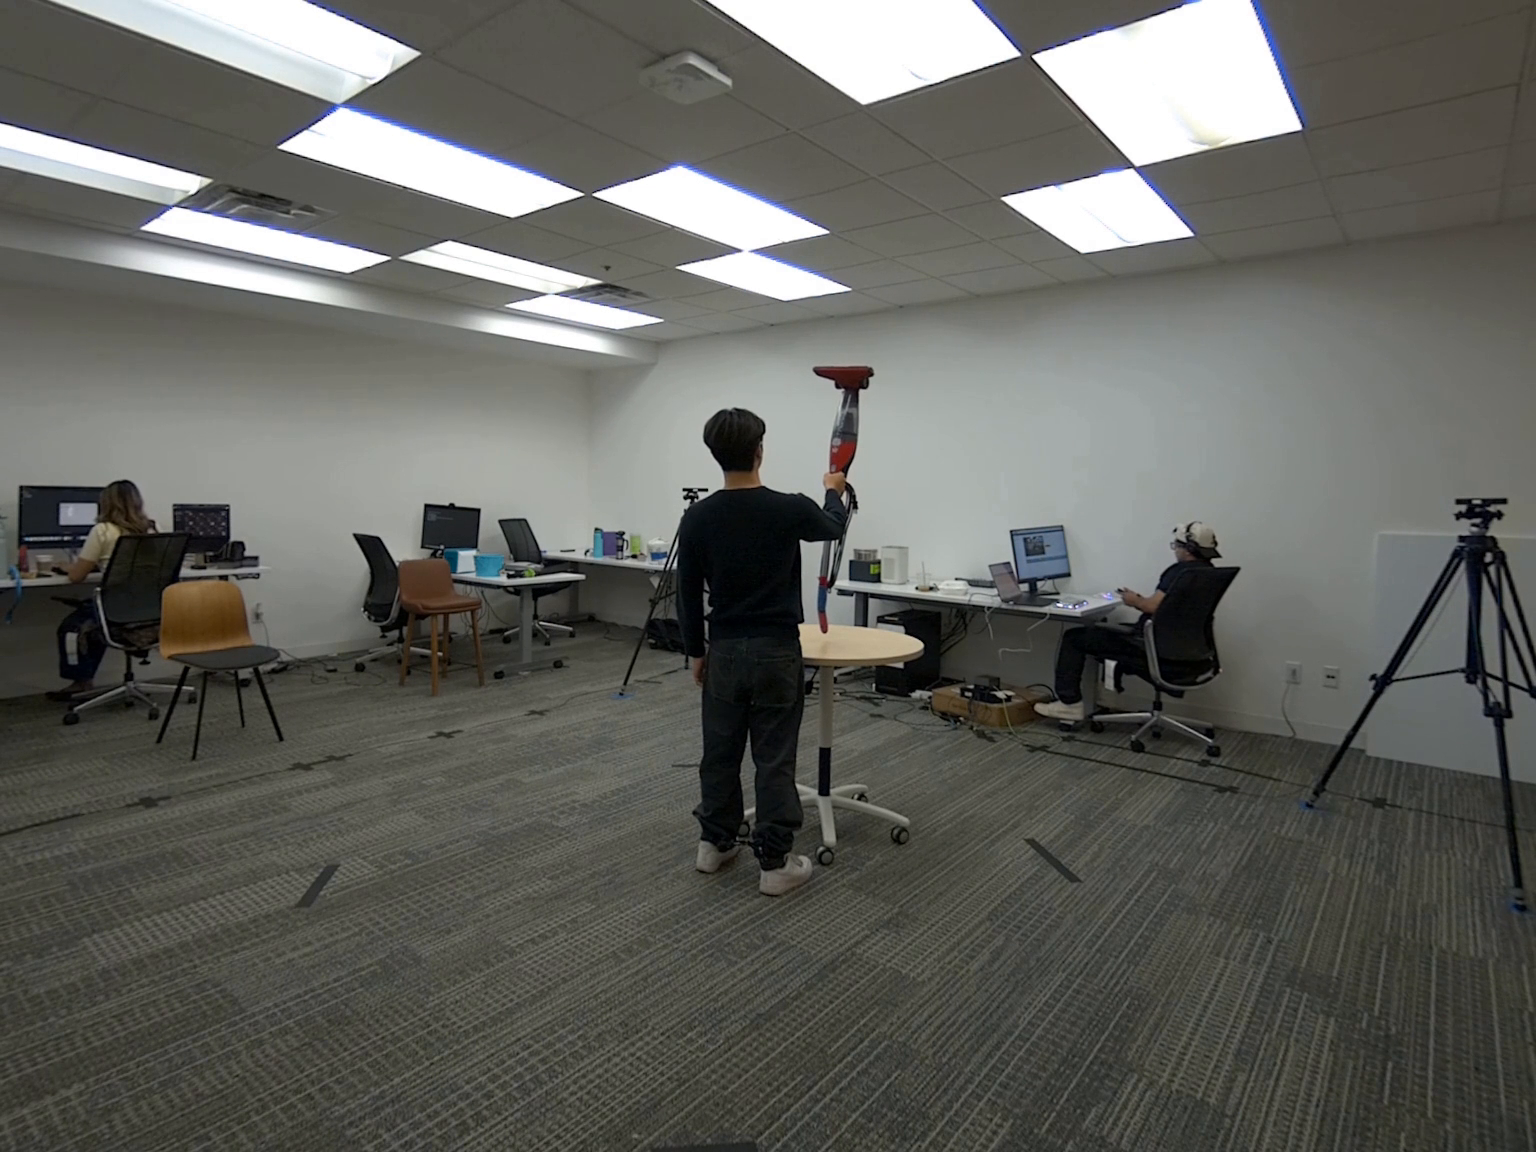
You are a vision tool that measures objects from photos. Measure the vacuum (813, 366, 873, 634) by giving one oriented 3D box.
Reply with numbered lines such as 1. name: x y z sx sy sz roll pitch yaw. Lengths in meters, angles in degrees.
1. vacuum: 0.273 -0.298 3.443 0.261 1.045 0.140 7 5 34
